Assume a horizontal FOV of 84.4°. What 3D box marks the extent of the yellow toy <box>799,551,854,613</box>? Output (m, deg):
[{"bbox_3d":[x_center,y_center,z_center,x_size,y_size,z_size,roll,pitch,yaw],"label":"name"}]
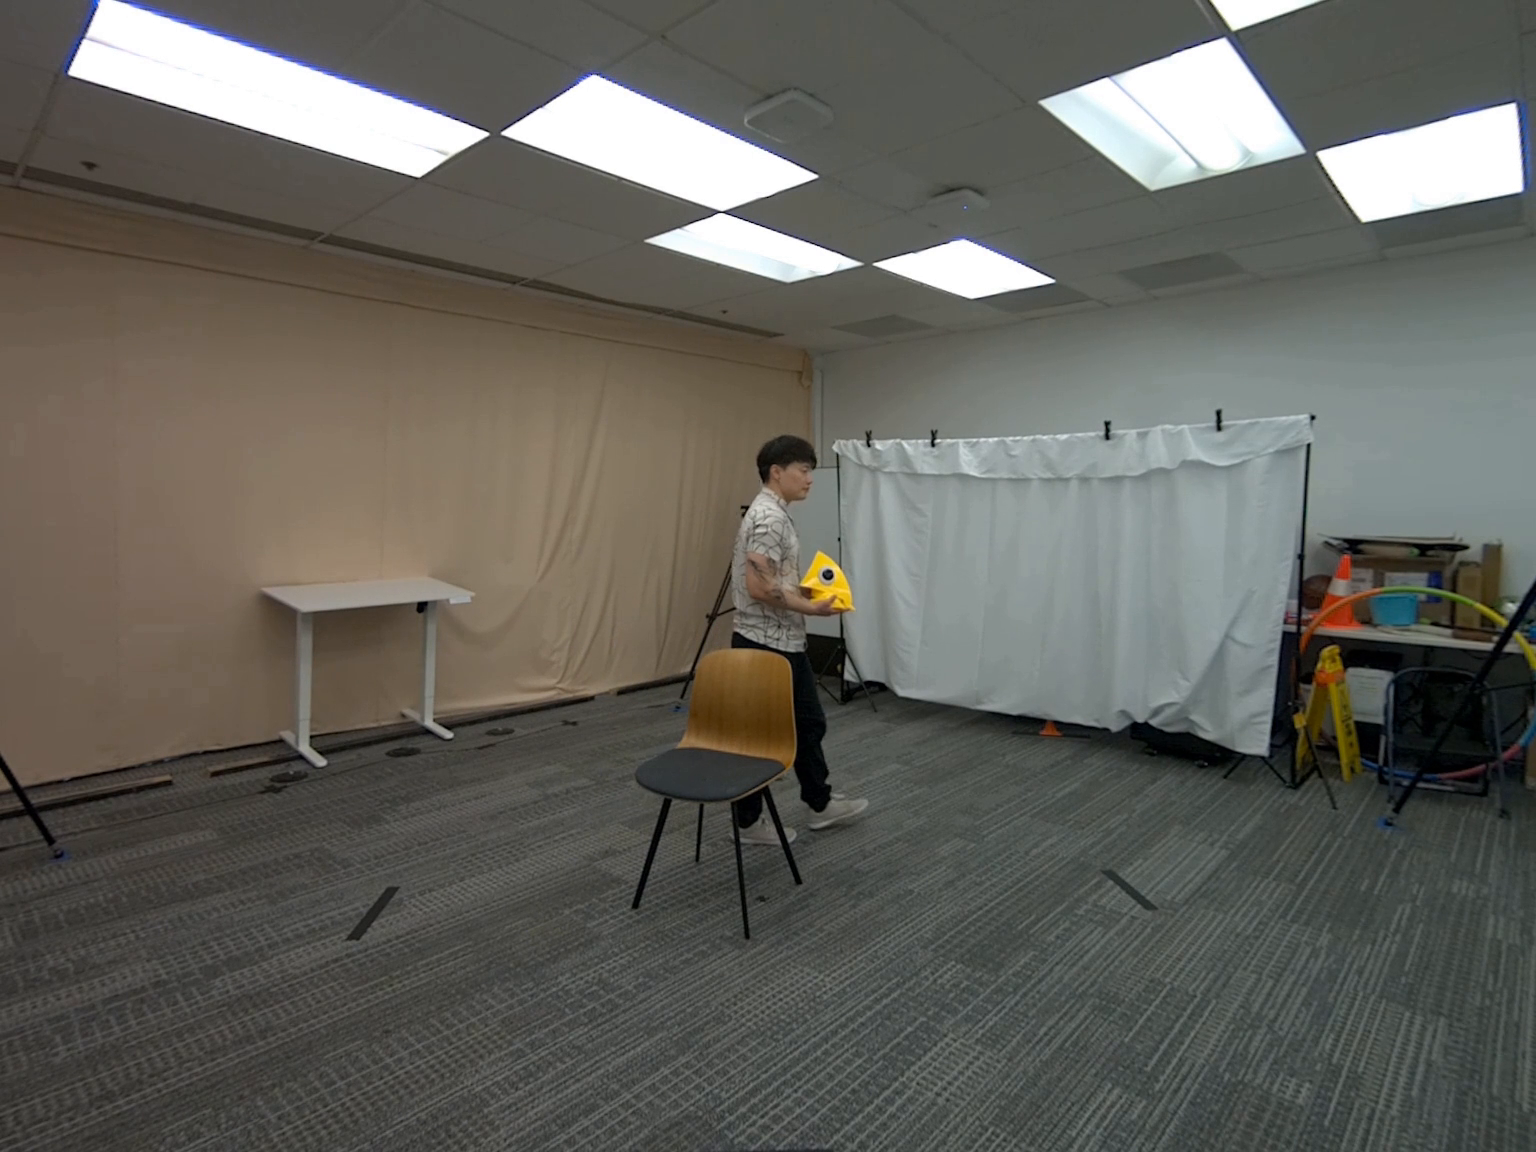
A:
[{"bbox_3d":[0.255,0.018,3.372,0.198,0.231,0.199,2,-6,27],"label":"yellow toy"}]
